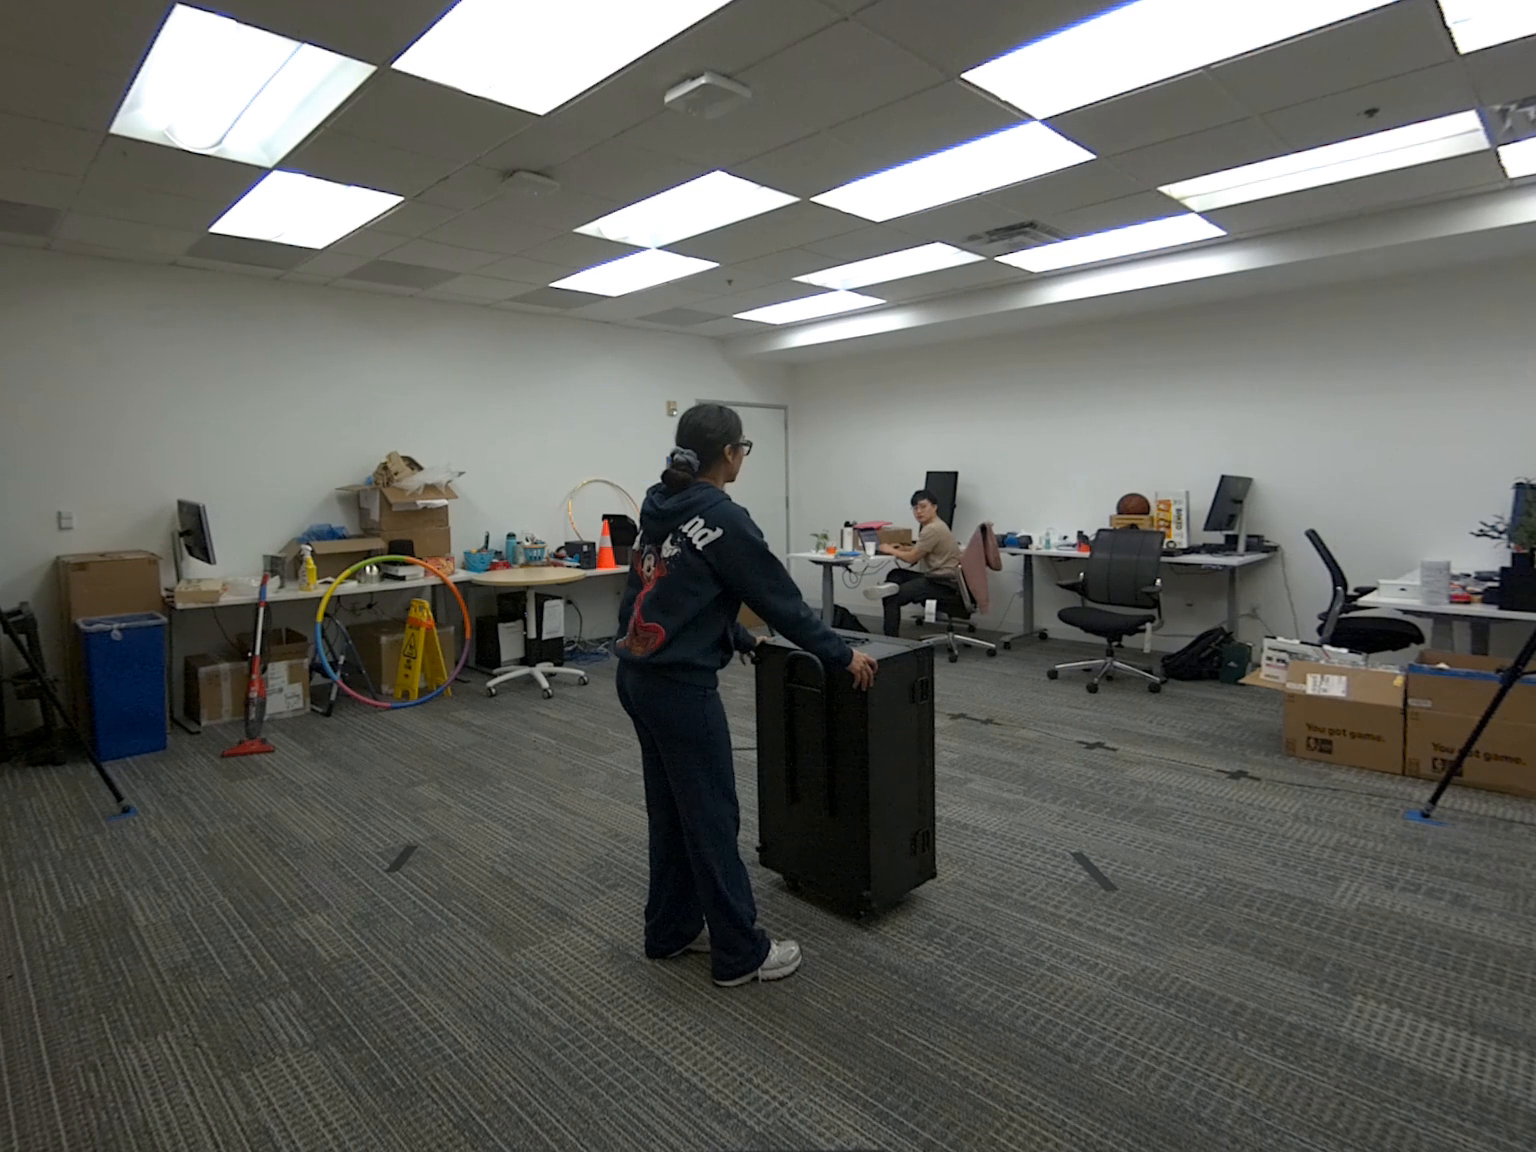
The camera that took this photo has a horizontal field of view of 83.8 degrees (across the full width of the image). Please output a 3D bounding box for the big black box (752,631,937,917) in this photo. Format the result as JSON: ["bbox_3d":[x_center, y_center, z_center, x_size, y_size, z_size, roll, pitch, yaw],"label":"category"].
[{"bbox_3d":[0.255,0.646,2.847,0.386,0.857,0.537,-6,7,-43],"label":"big black box"}]
